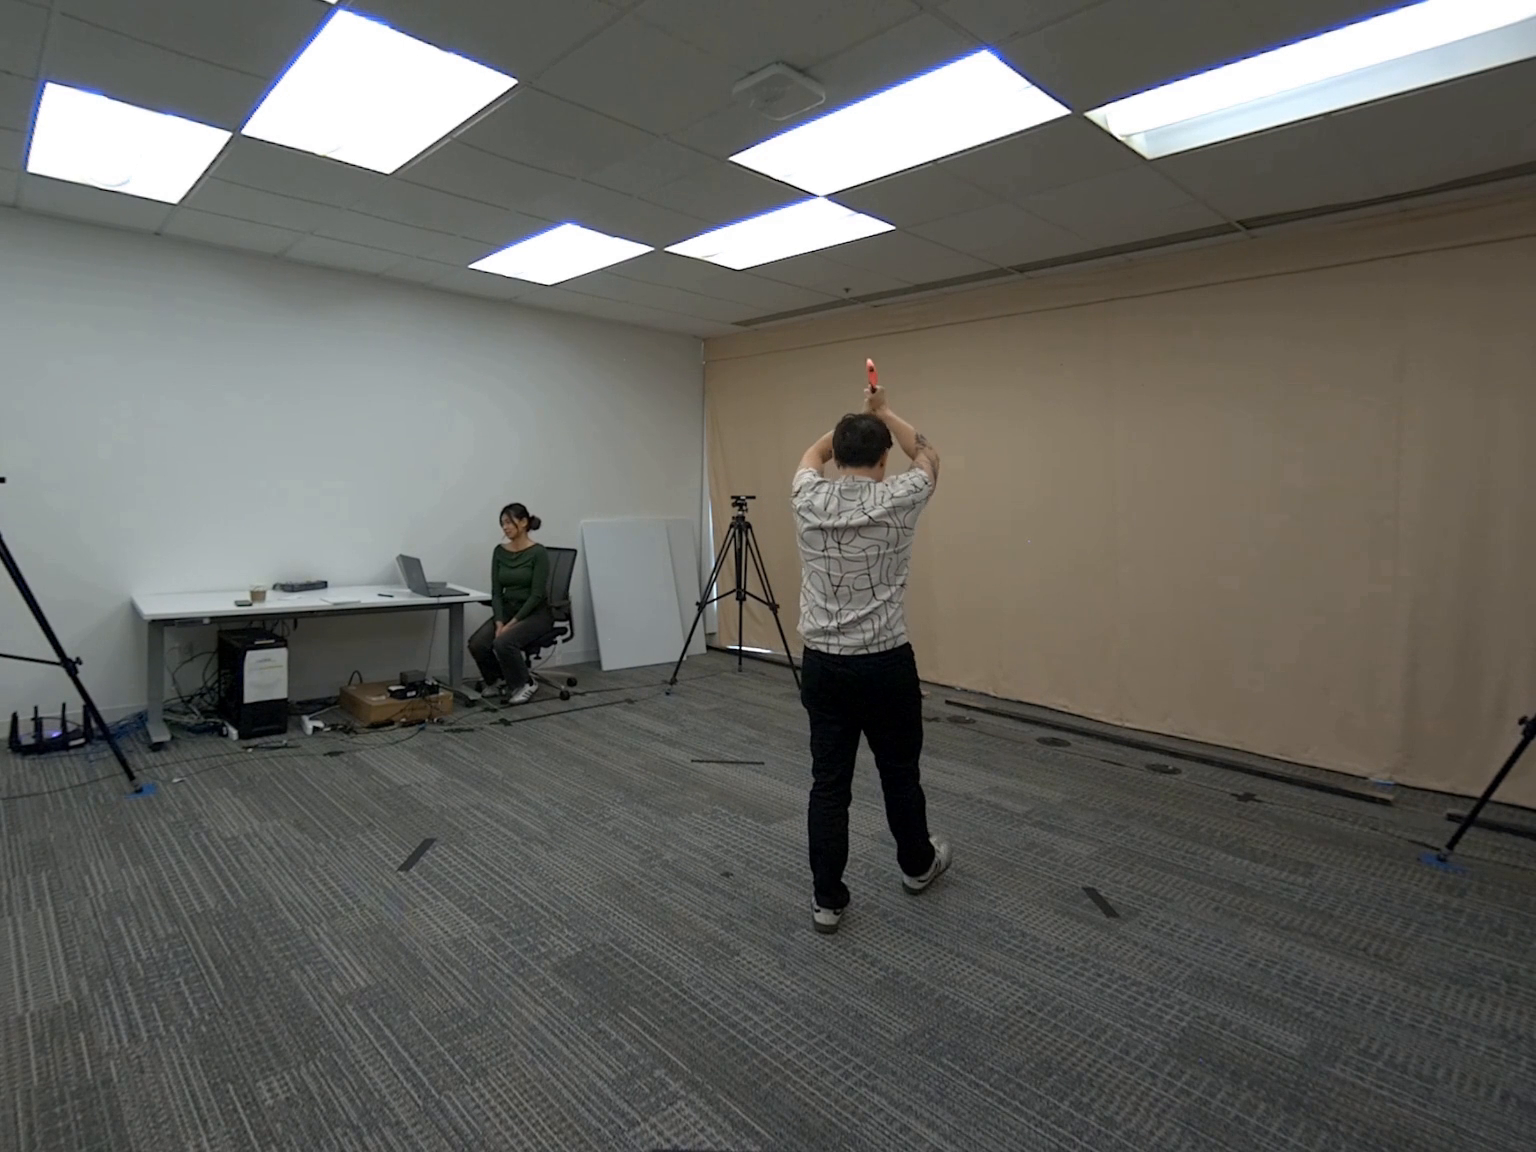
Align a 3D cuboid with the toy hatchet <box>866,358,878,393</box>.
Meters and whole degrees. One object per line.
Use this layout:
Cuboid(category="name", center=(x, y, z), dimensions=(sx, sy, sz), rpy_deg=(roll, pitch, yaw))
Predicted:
Cuboid(category="toy hatchet", center=(0.362, -0.672, 2.963), dimensions=(0.030, 0.132, 0.266), rpy_deg=(-12, -13, 6))
